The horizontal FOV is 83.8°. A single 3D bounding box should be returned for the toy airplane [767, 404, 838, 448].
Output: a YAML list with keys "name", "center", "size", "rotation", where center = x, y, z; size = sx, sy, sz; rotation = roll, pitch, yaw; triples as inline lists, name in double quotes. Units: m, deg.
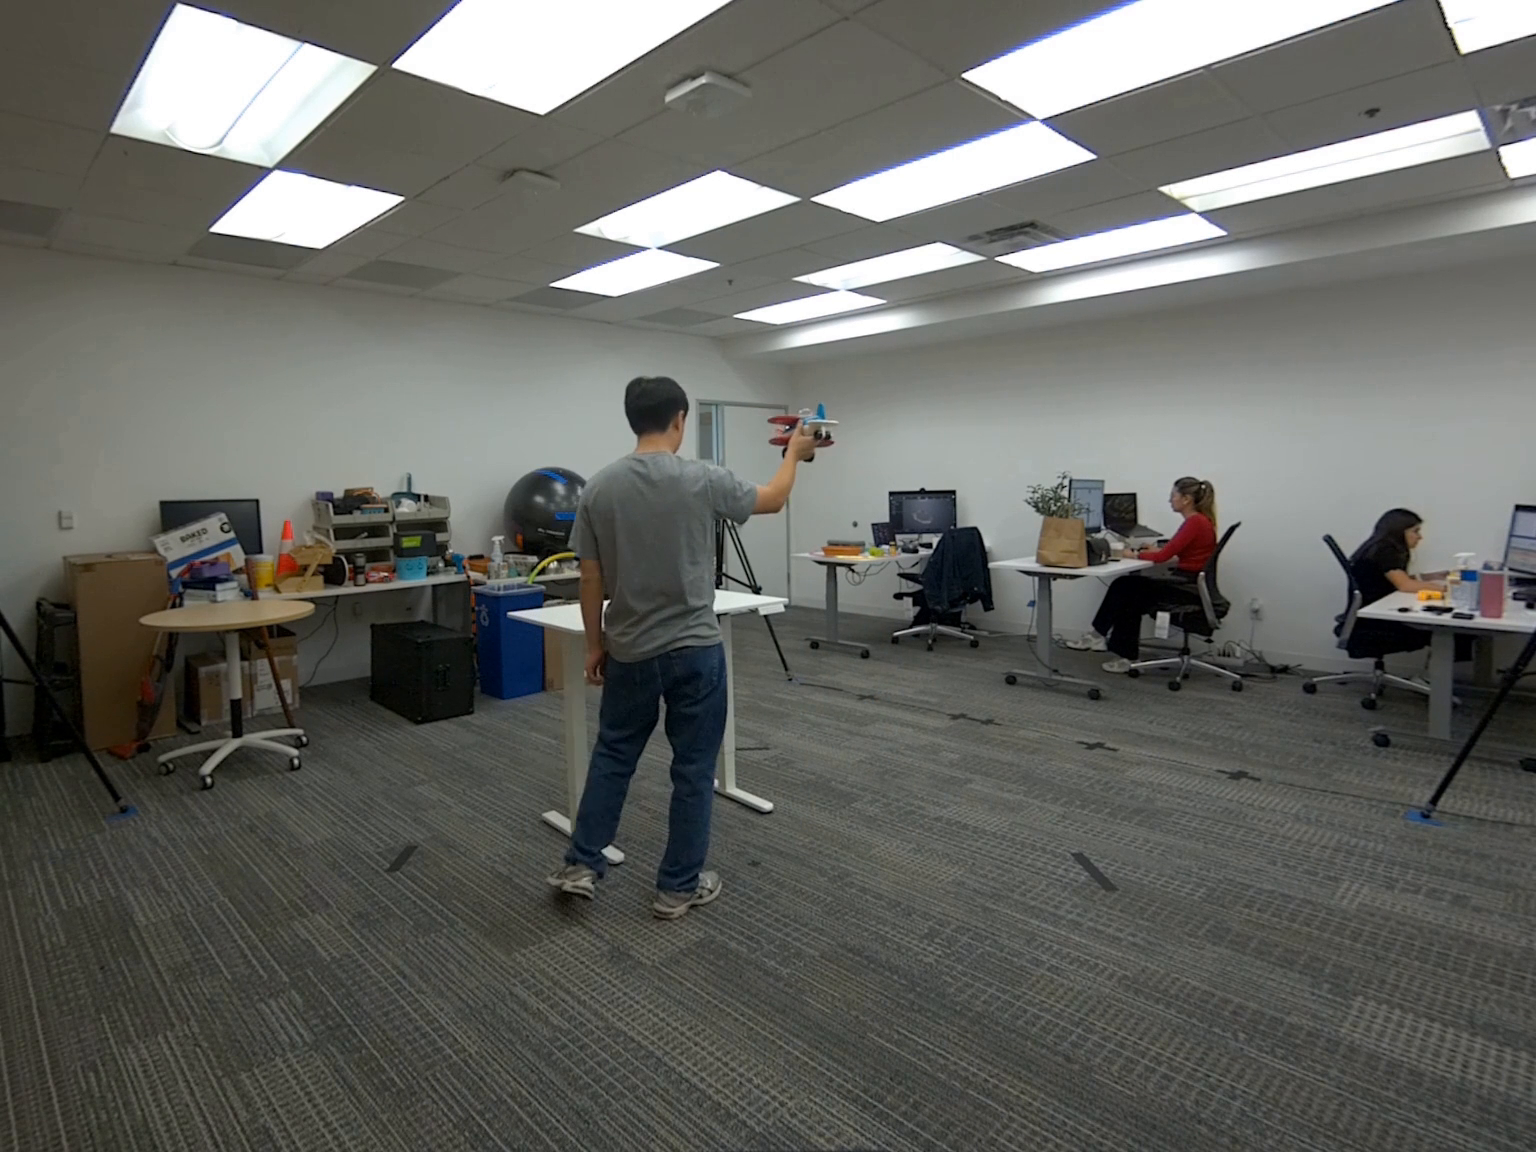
- name: "toy airplane"
  center: [0.155, -0.523, 3.094]
  size: [0.263, 0.159, 0.243]
  rotation: [-20, -20, 34]
